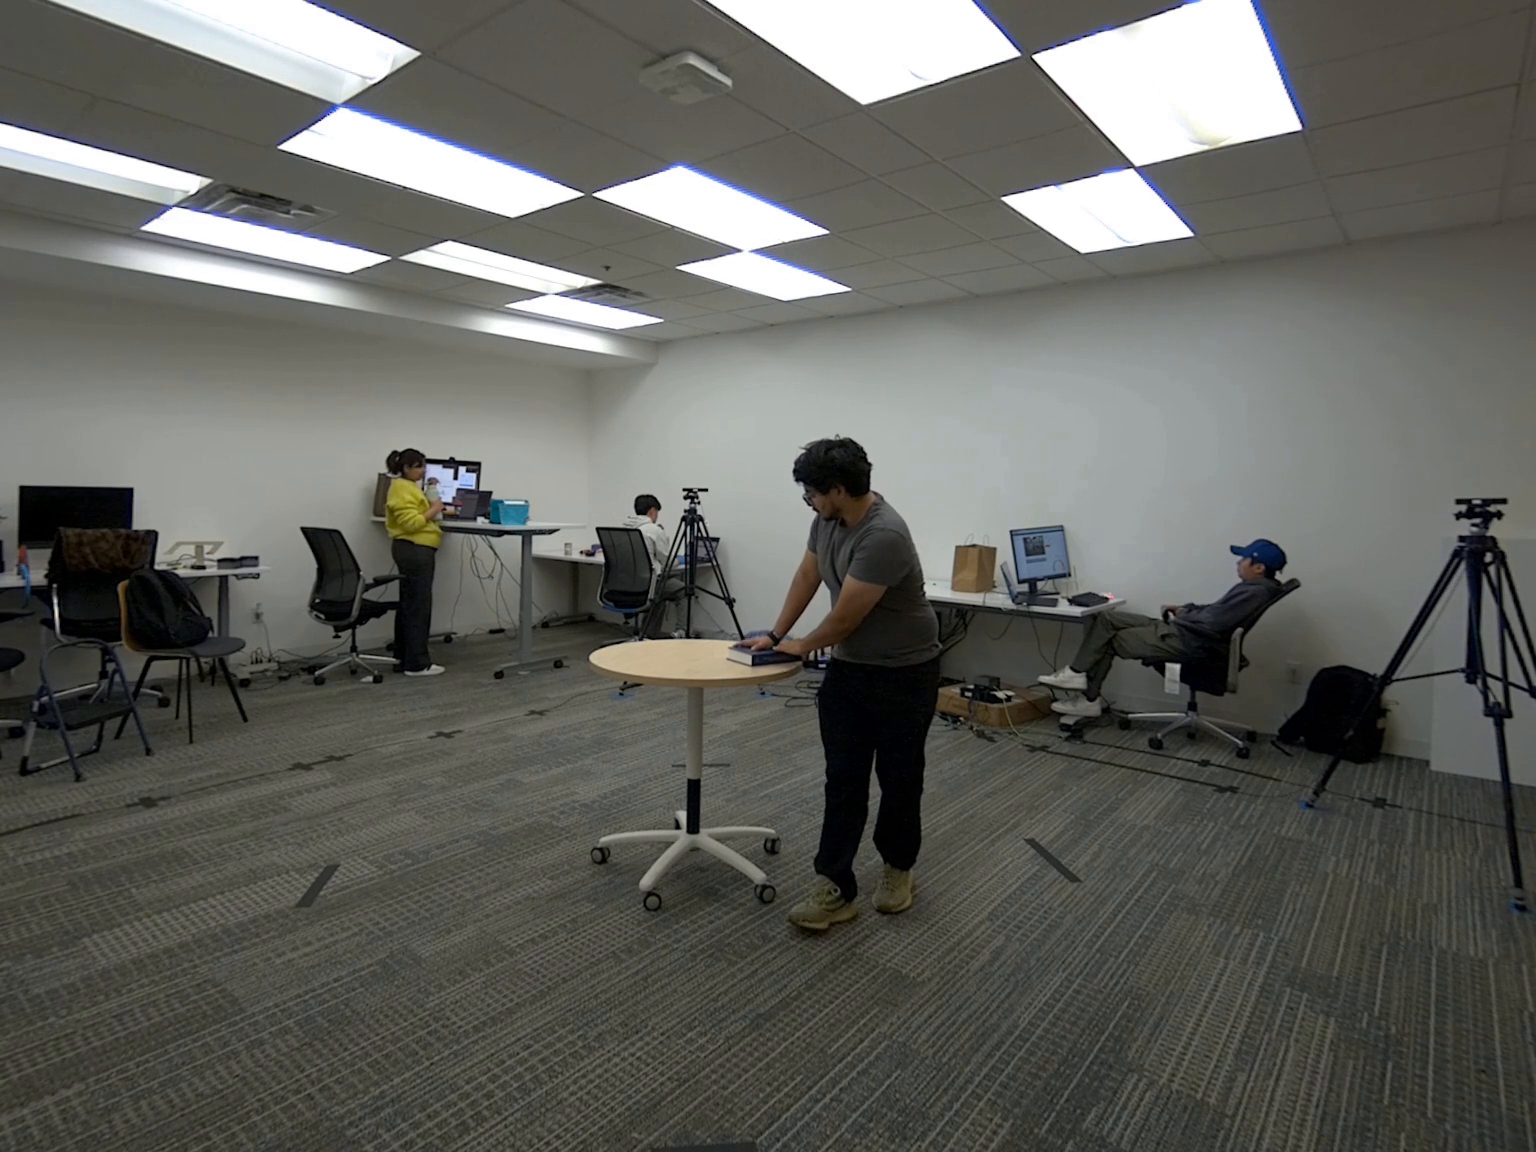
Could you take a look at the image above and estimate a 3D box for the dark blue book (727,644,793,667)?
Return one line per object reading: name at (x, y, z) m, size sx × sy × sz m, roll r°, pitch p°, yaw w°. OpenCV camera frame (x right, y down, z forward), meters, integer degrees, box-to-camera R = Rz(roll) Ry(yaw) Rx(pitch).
dark blue book at (-0.018, 0.278, 3.038) m, size 0.239 × 0.045 × 0.168 m, roll -3°, pitch 7°, yaw -30°
